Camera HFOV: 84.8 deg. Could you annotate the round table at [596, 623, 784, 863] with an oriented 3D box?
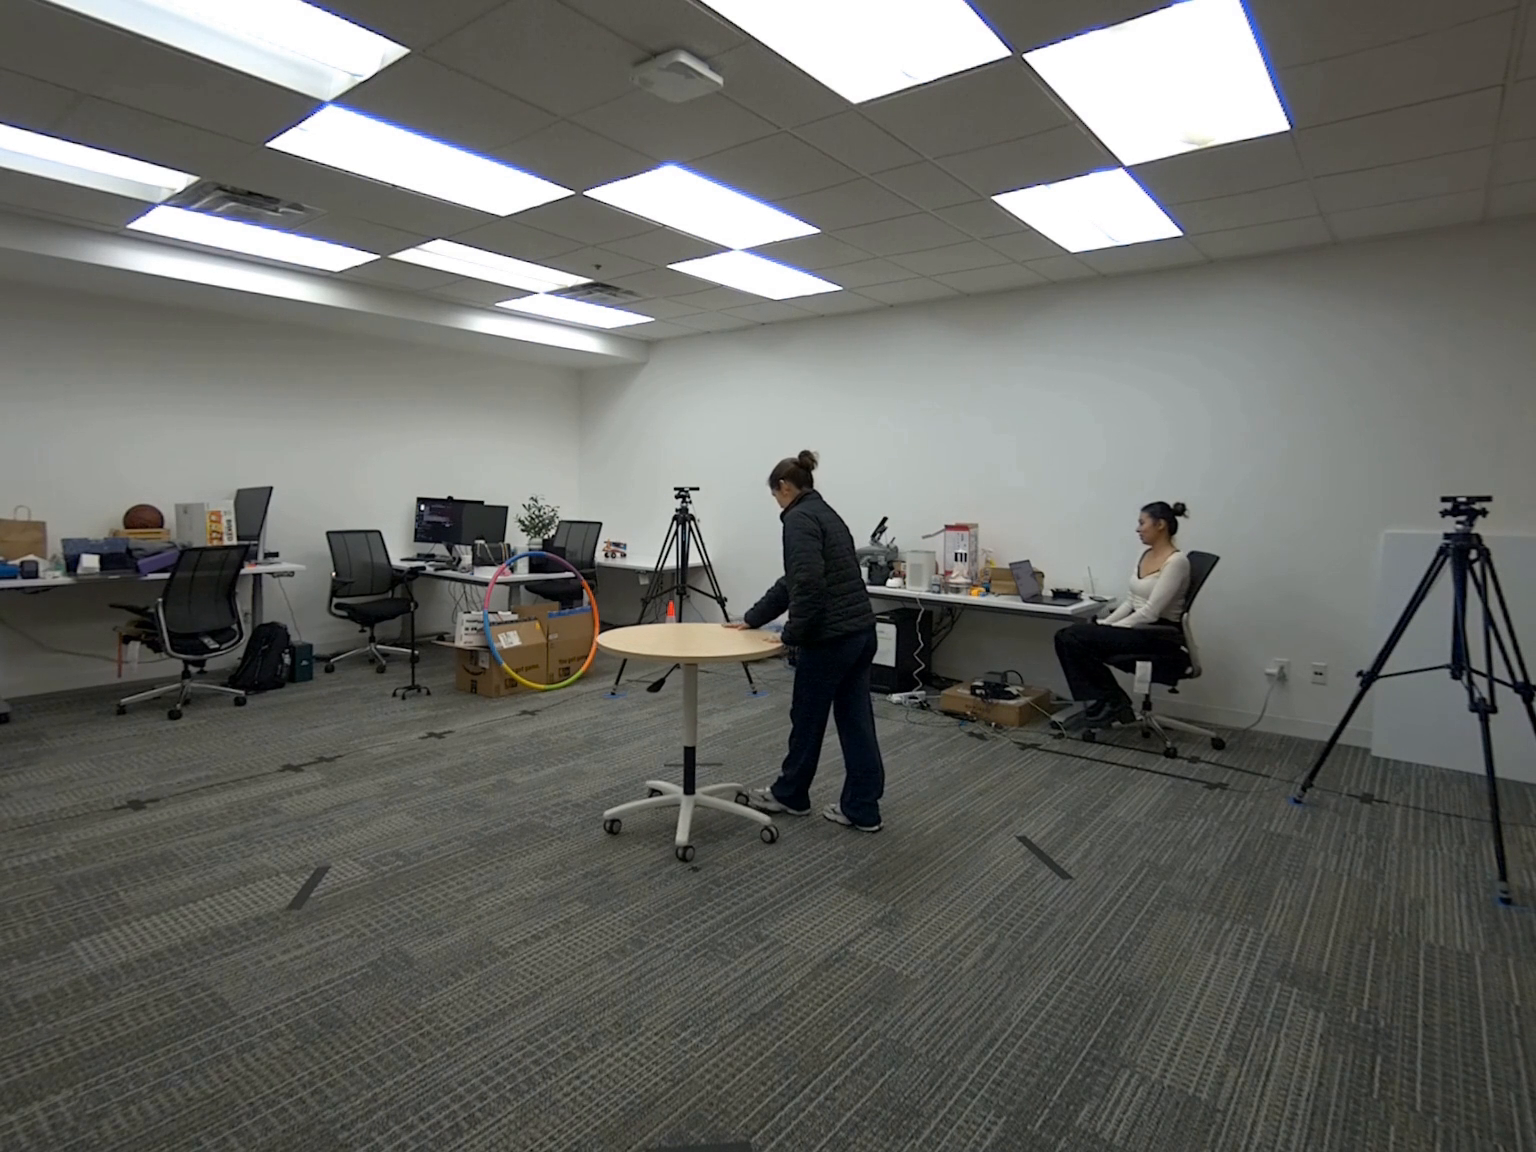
[{"bbox_3d":[-0.290,0.635,3.496,0.784,0.784,0.789,1,4,-2],"label":"round table"}]
